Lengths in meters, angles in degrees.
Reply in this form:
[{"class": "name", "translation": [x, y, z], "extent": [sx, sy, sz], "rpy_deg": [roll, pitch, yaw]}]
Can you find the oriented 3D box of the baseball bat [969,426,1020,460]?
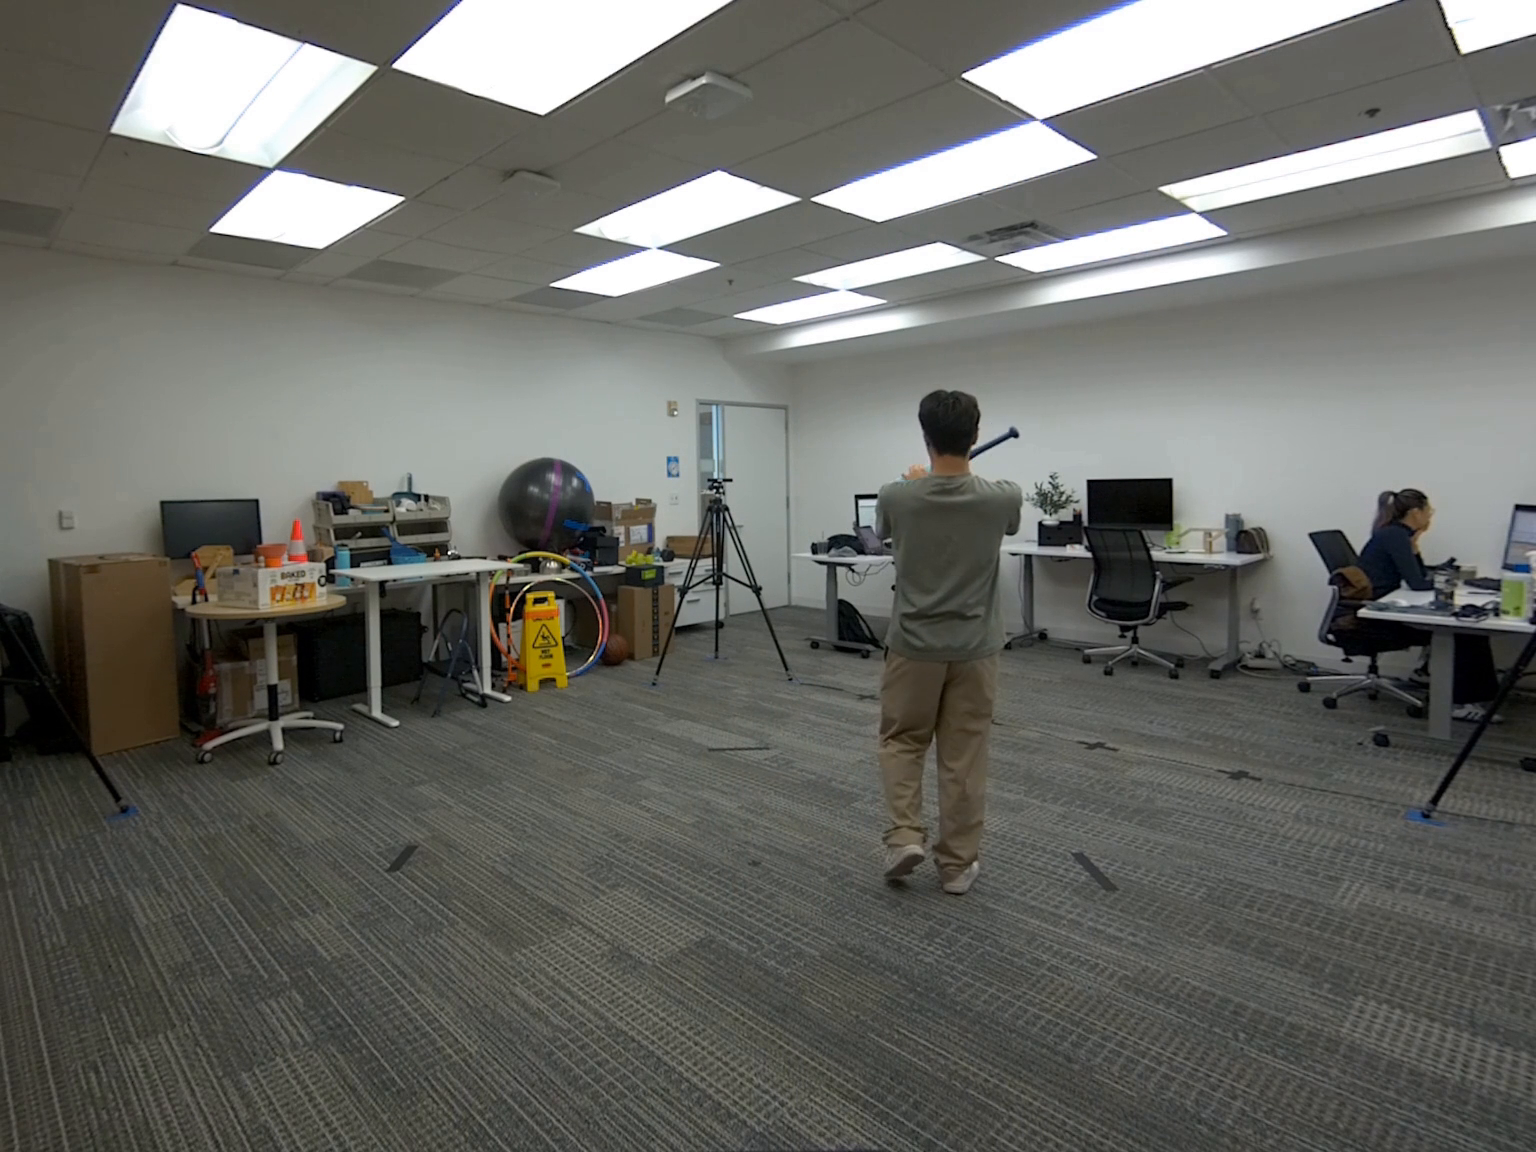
[{"class": "baseball bat", "translation": [0.732, -0.438, 3.354], "extent": [0.546, 0.089, 0.088], "rpy_deg": [-27, -1, 13]}]
